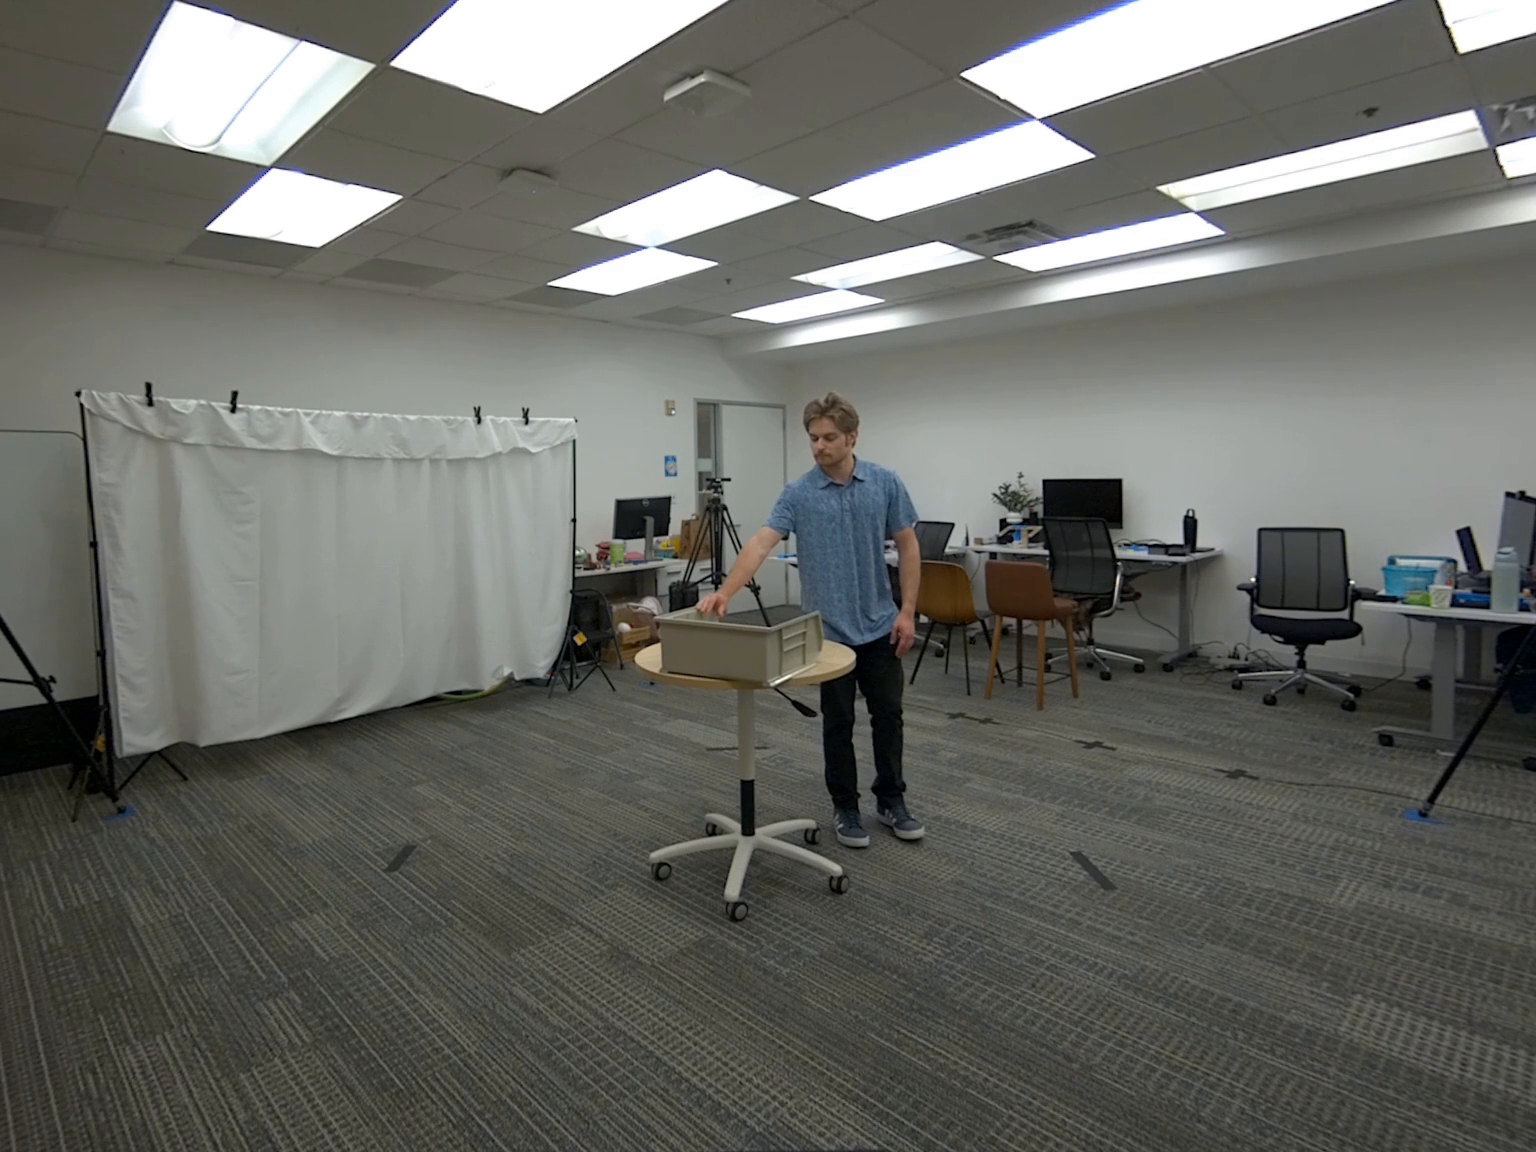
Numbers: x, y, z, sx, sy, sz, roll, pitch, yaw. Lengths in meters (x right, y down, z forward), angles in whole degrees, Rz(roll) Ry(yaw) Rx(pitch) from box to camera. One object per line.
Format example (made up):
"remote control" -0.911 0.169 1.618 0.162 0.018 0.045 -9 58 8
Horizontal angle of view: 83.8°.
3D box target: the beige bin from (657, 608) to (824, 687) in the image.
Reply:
"beige bin" -0.084 0.211 2.763 0.434 0.188 0.370 3 9 30
